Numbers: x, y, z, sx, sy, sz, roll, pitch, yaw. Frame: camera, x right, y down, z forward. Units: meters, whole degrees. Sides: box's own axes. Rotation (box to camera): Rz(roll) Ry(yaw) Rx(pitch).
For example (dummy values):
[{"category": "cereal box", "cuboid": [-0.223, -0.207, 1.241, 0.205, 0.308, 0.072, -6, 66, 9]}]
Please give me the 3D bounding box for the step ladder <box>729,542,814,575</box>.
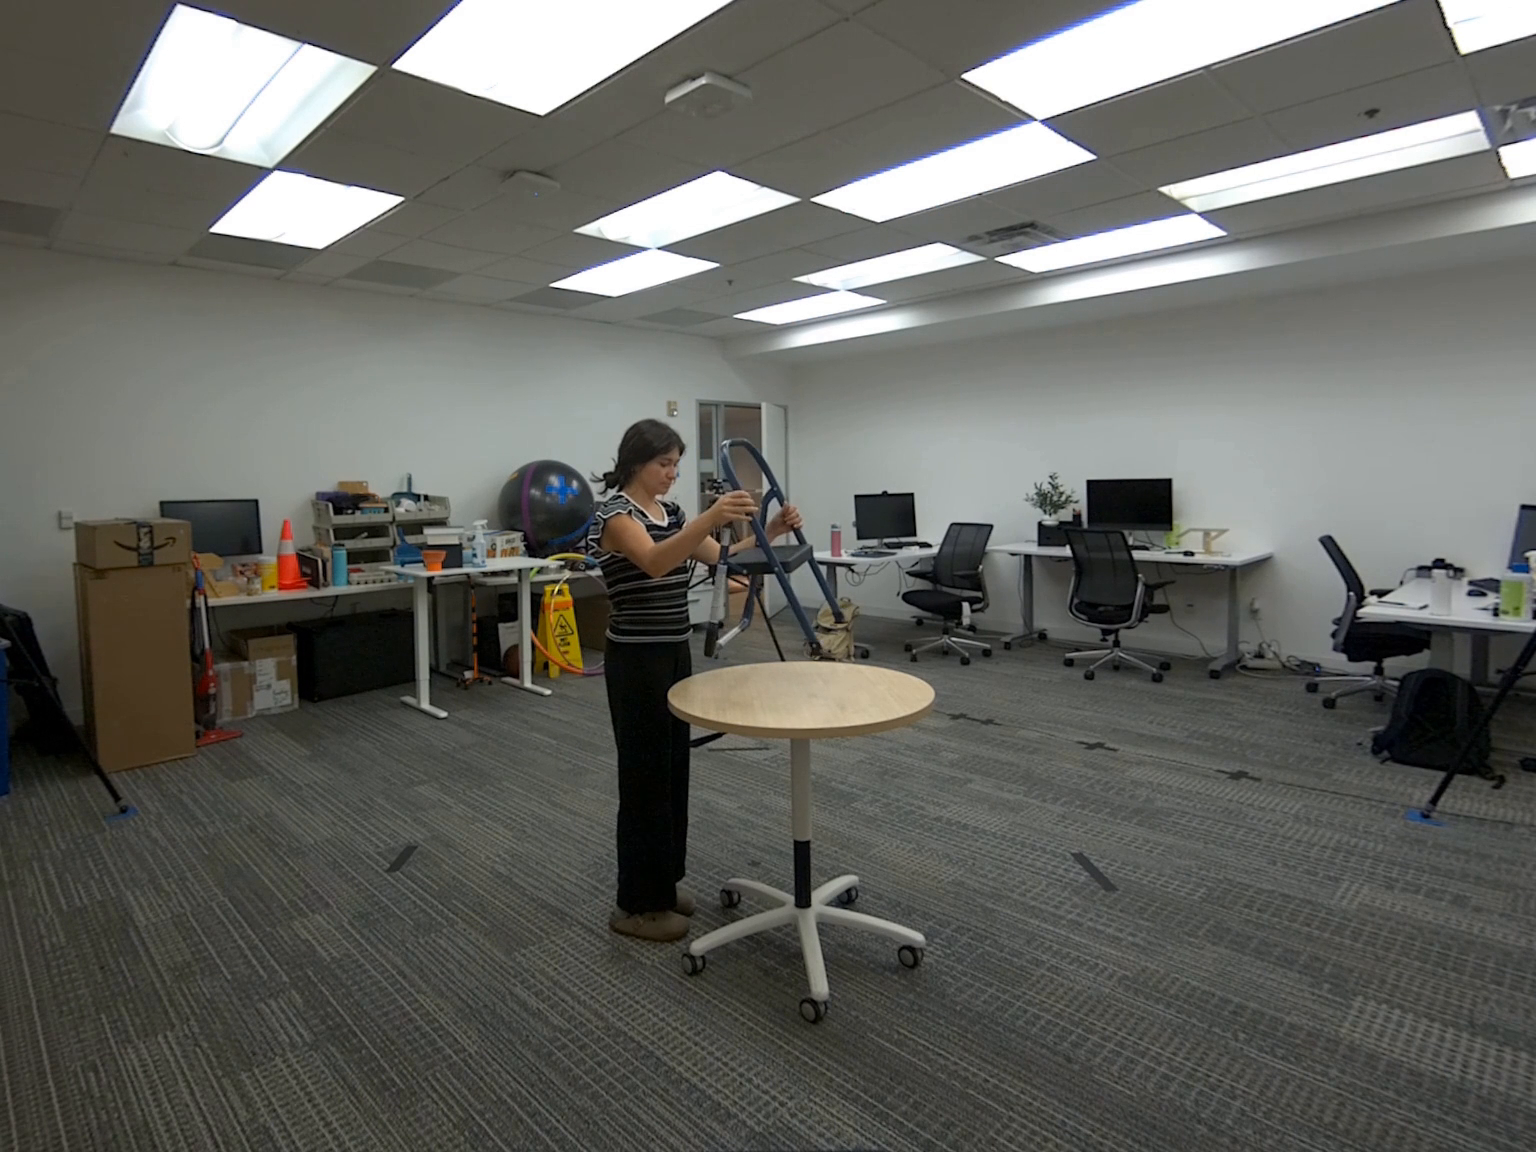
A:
[{"category": "step ladder", "cuboid": [0.009, -0.106, 2.525, 0.354, 0.603, 0.427, -4, 6, 16]}]
